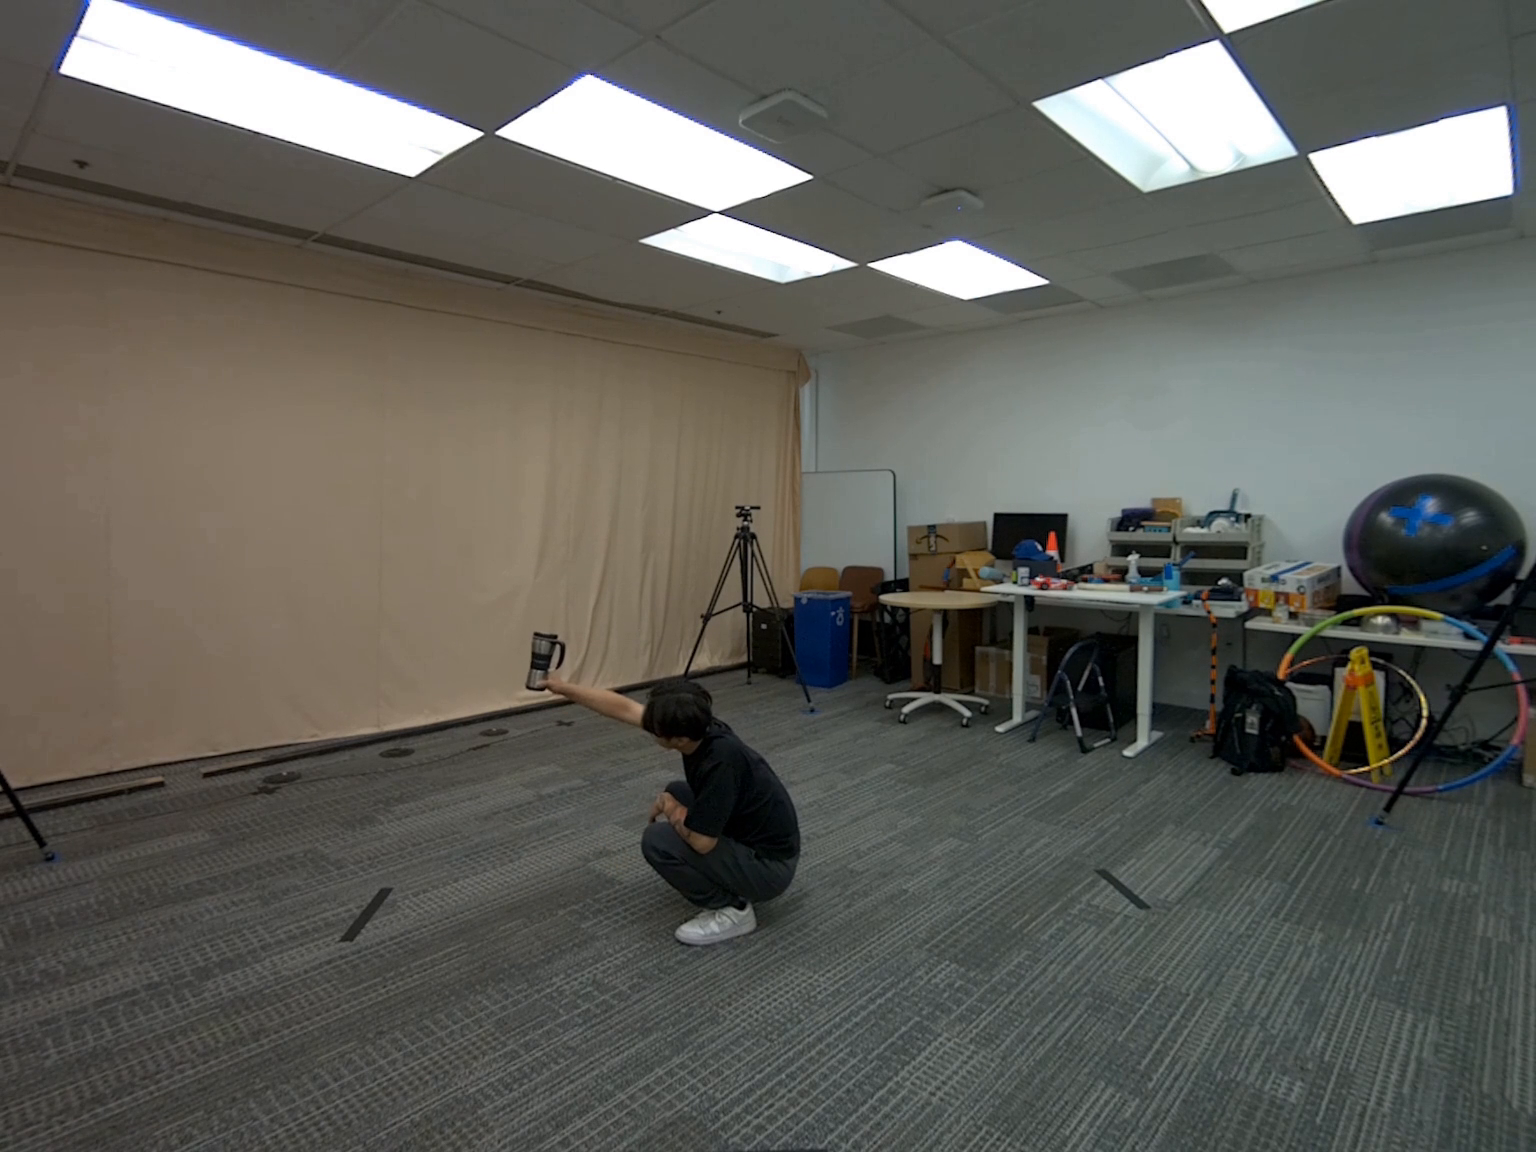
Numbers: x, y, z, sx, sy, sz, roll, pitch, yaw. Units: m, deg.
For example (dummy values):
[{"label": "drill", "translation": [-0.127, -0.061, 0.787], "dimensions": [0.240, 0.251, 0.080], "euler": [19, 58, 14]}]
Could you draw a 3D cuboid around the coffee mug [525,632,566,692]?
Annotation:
[{"label": "coffee mug", "translation": [-0.790, 0.312, 2.945], "dimensions": [0.126, 0.203, 0.085], "euler": [12, -4, 36]}]
